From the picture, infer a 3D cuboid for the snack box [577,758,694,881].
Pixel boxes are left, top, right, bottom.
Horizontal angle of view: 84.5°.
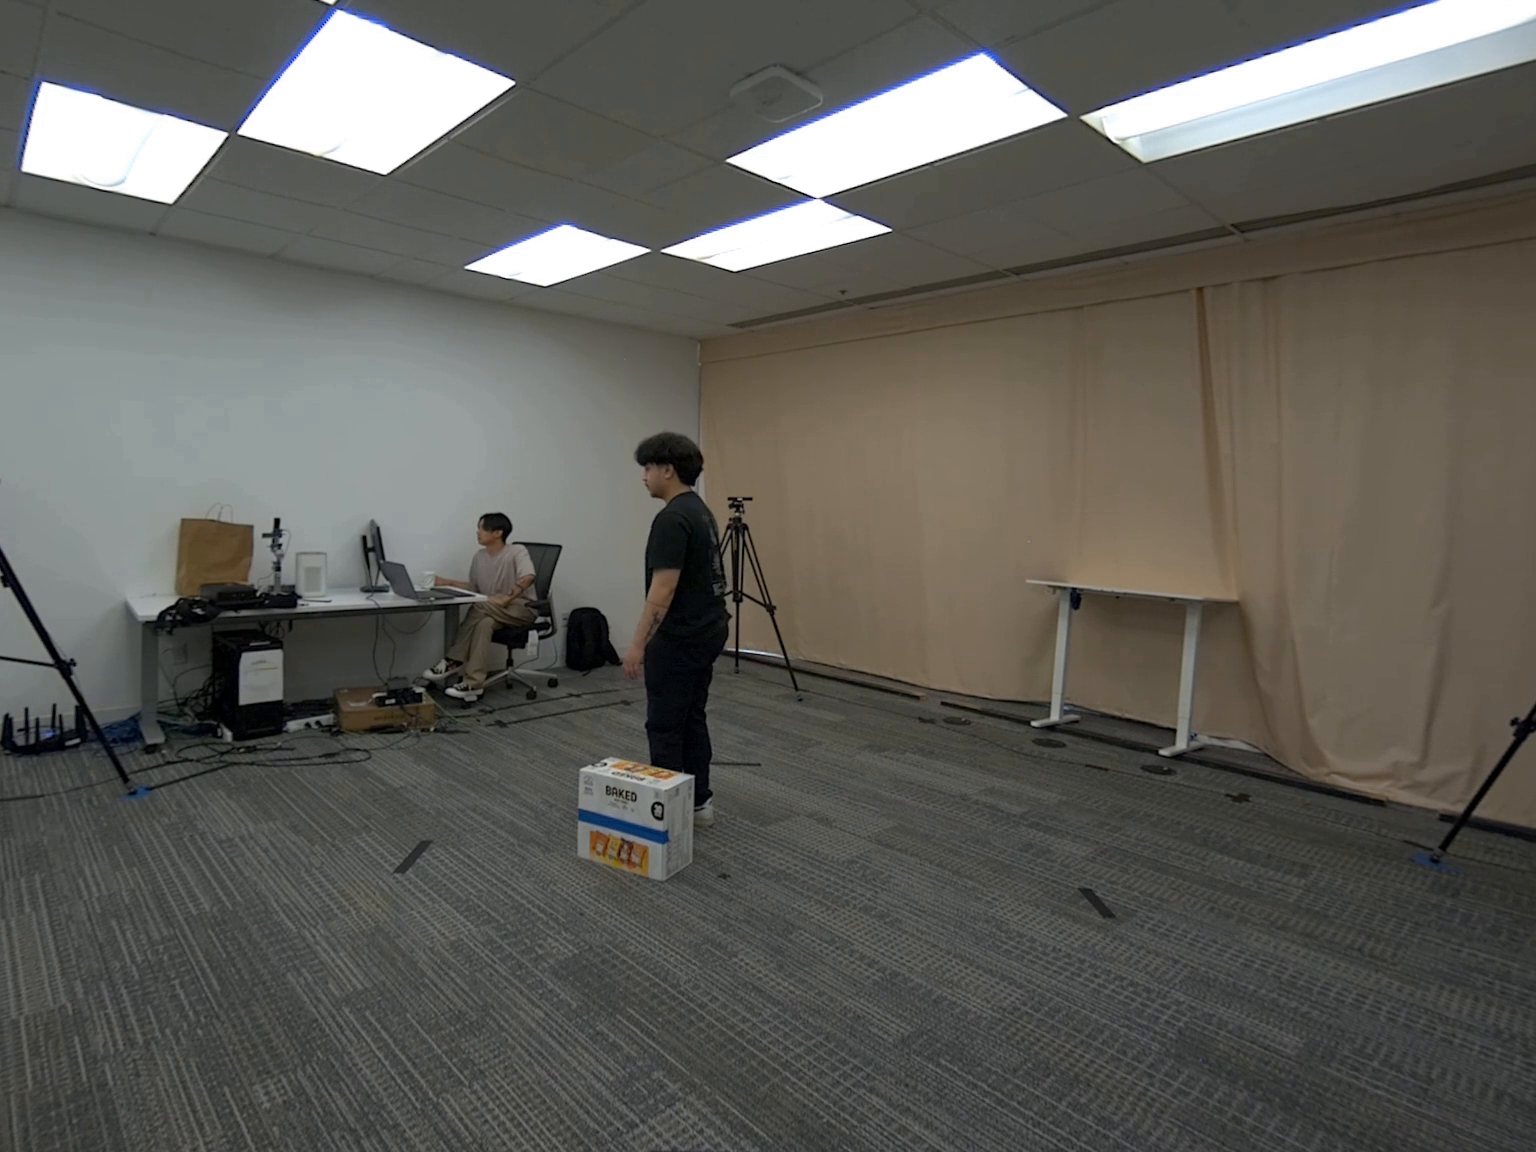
[{"bbox_3d":[-0.513,0.918,3.221,0.414,0.339,0.202,4,5,29],"label":"snack box"}]
